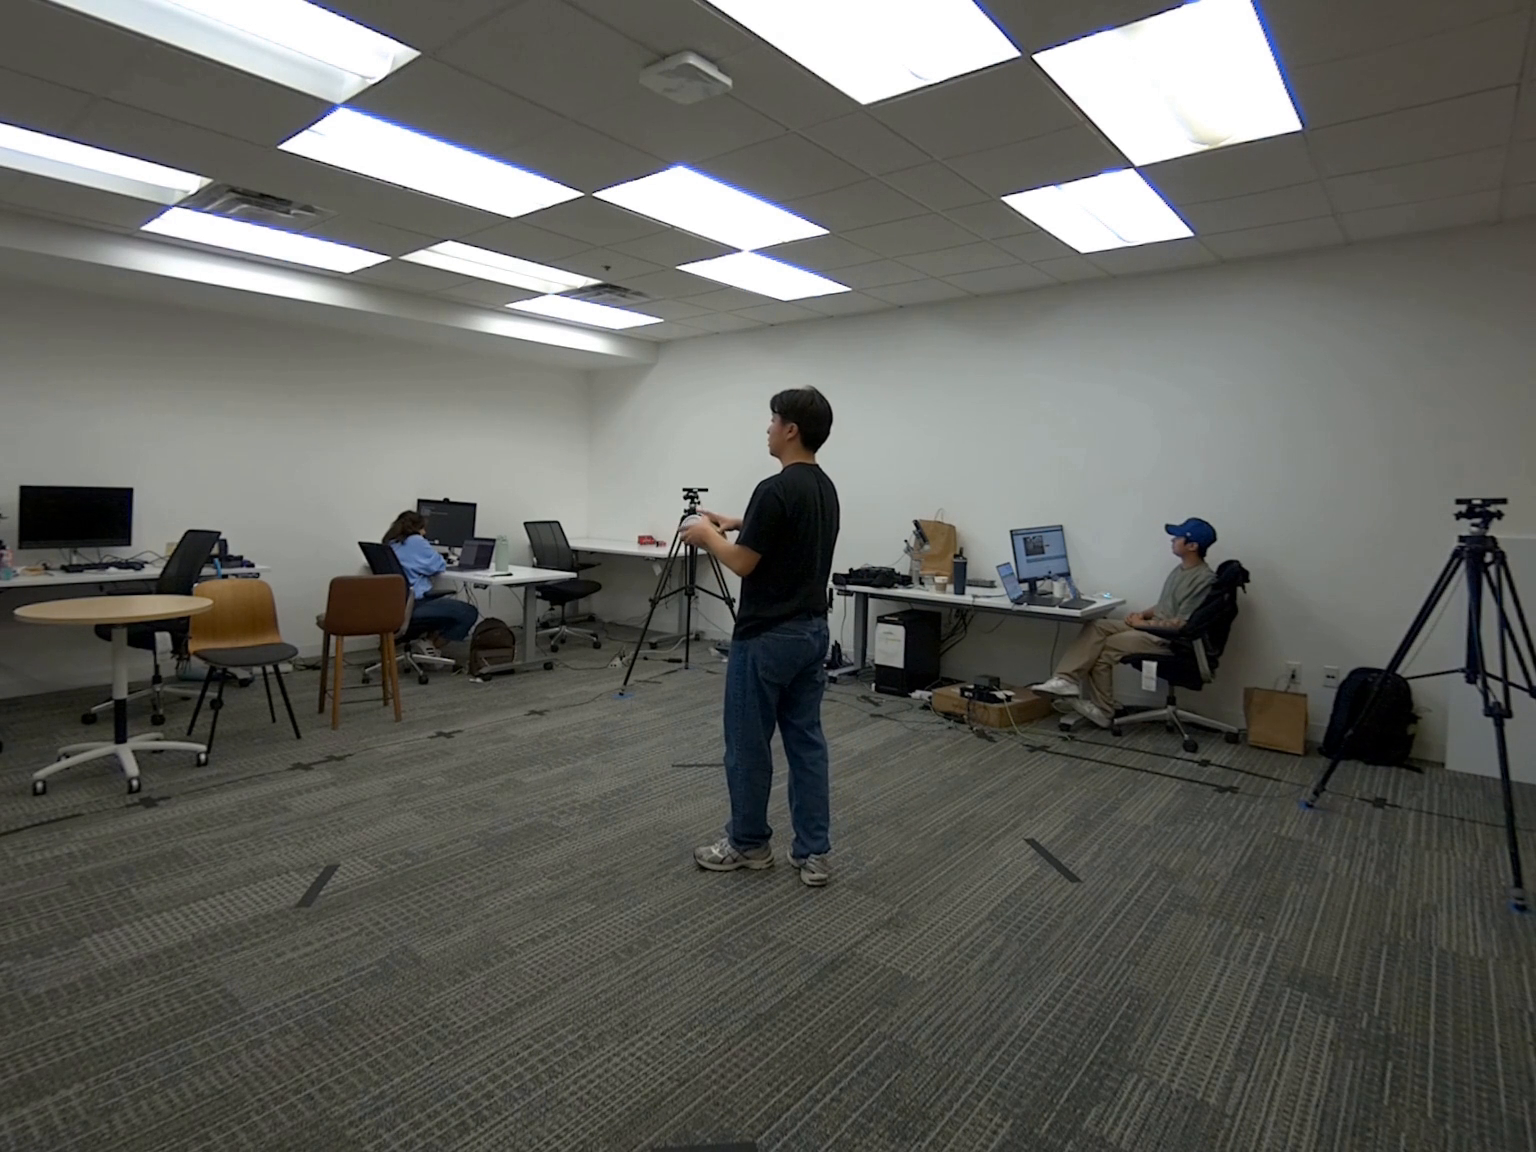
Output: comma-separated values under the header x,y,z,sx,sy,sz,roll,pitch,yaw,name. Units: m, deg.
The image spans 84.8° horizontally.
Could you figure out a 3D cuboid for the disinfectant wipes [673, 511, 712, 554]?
x,y,z,sx,sy,sz,roll,pitch,yaw,name
-0.276,-0.172,3.294,0.120,0.119,0.211,2,-10,16,disinfectant wipes
